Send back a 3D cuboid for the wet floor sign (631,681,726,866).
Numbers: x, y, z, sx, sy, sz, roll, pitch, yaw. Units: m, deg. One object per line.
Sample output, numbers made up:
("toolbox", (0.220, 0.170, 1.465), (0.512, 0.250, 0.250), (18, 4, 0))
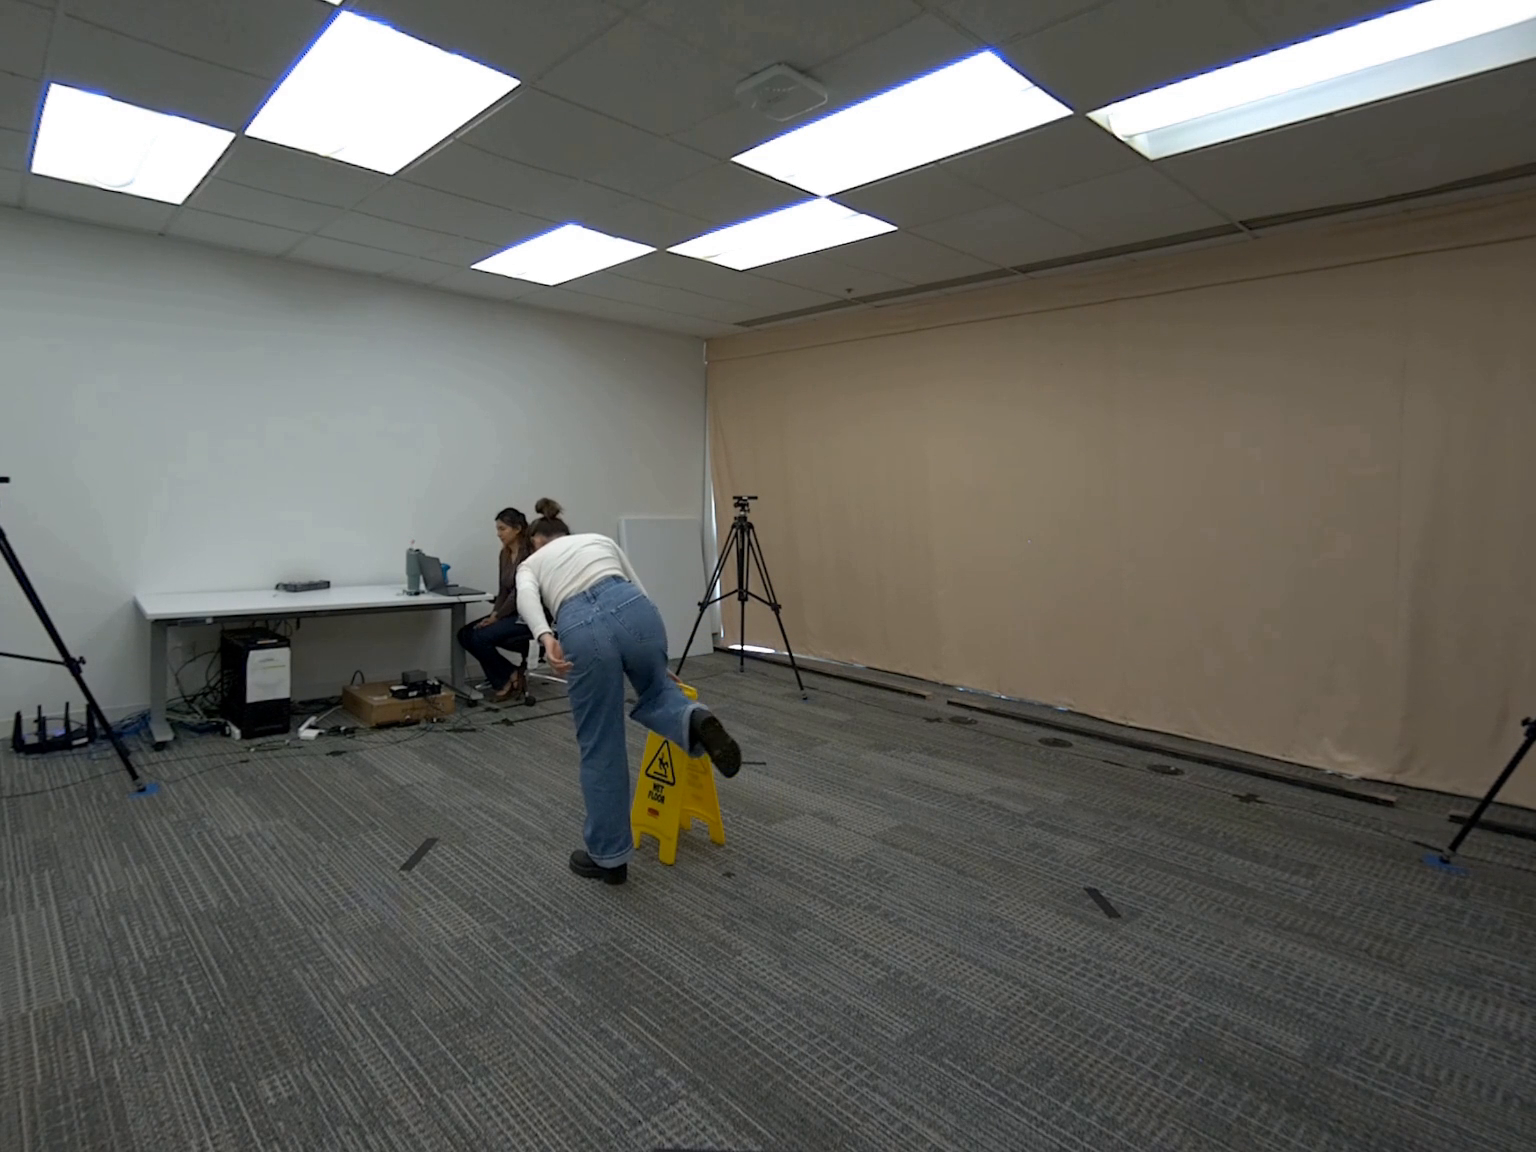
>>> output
("wet floor sign", (-0.369, 0.754, 3.357), (0.289, 0.645, 0.283), (4, 4, 43))
